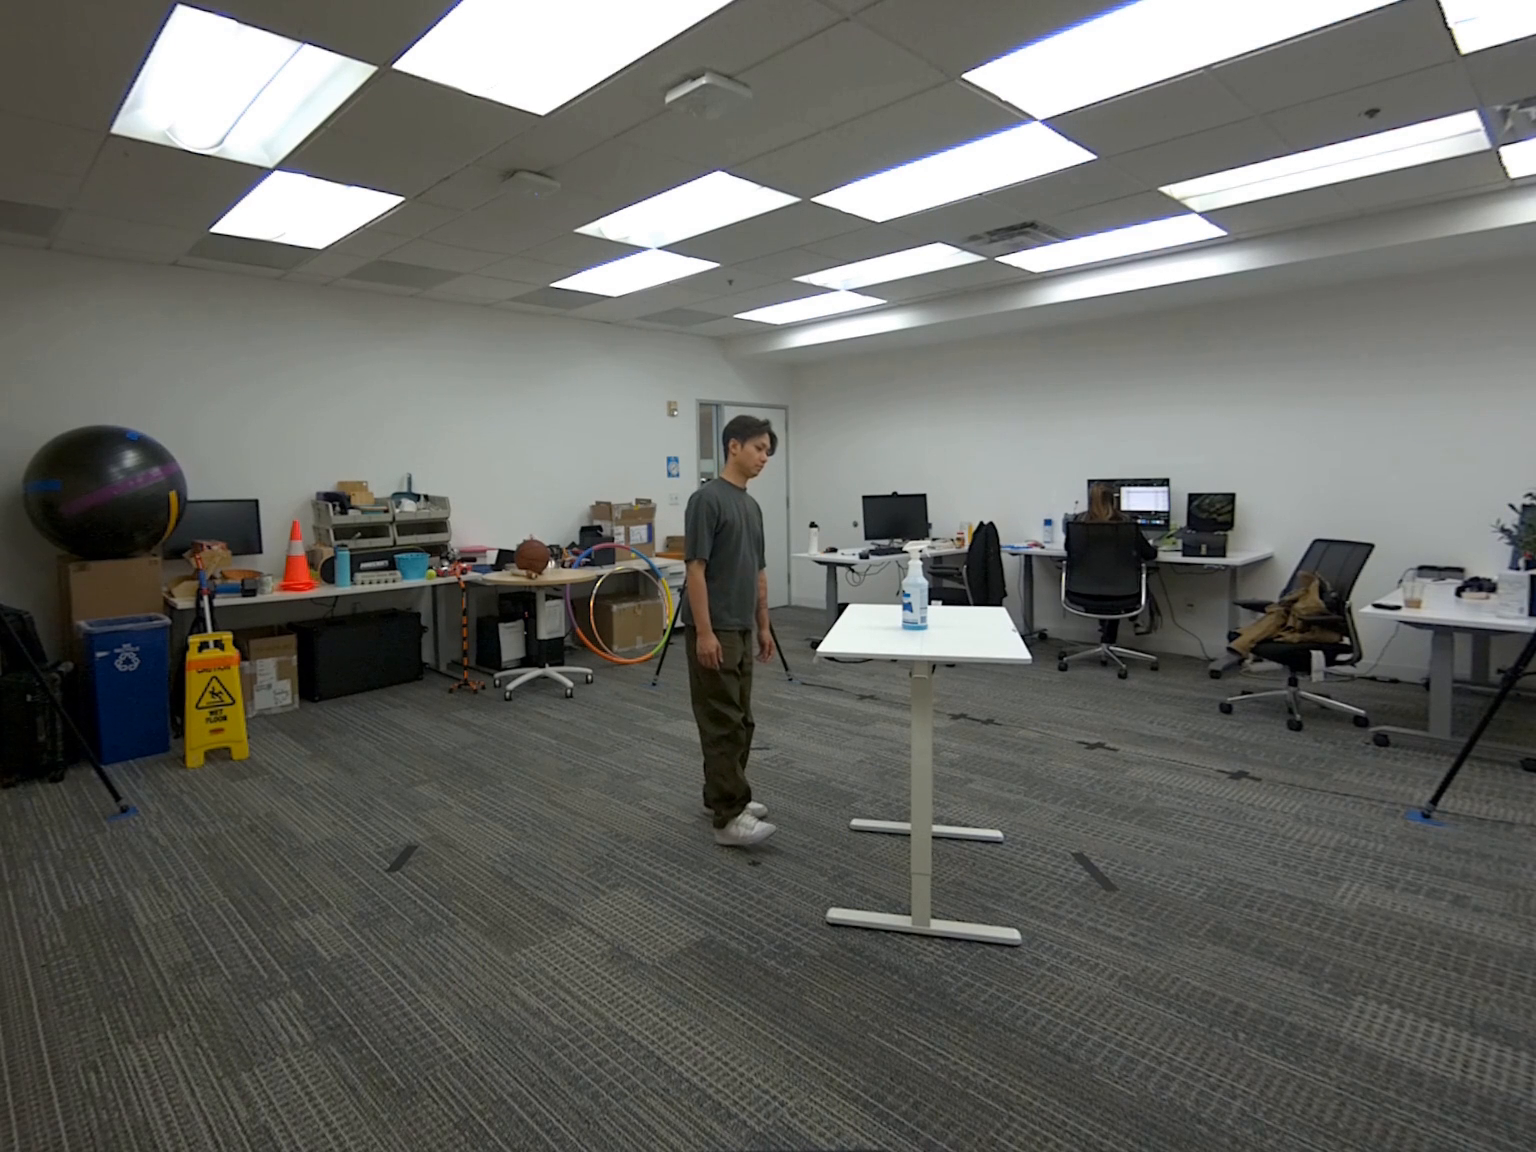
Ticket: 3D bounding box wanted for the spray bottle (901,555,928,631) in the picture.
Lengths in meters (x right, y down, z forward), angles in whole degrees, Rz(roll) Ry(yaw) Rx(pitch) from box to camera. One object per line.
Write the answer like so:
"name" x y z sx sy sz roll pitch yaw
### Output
"spray bottle" 0.503 0.032 2.882 0.092 0.296 0.085 3 5 29
